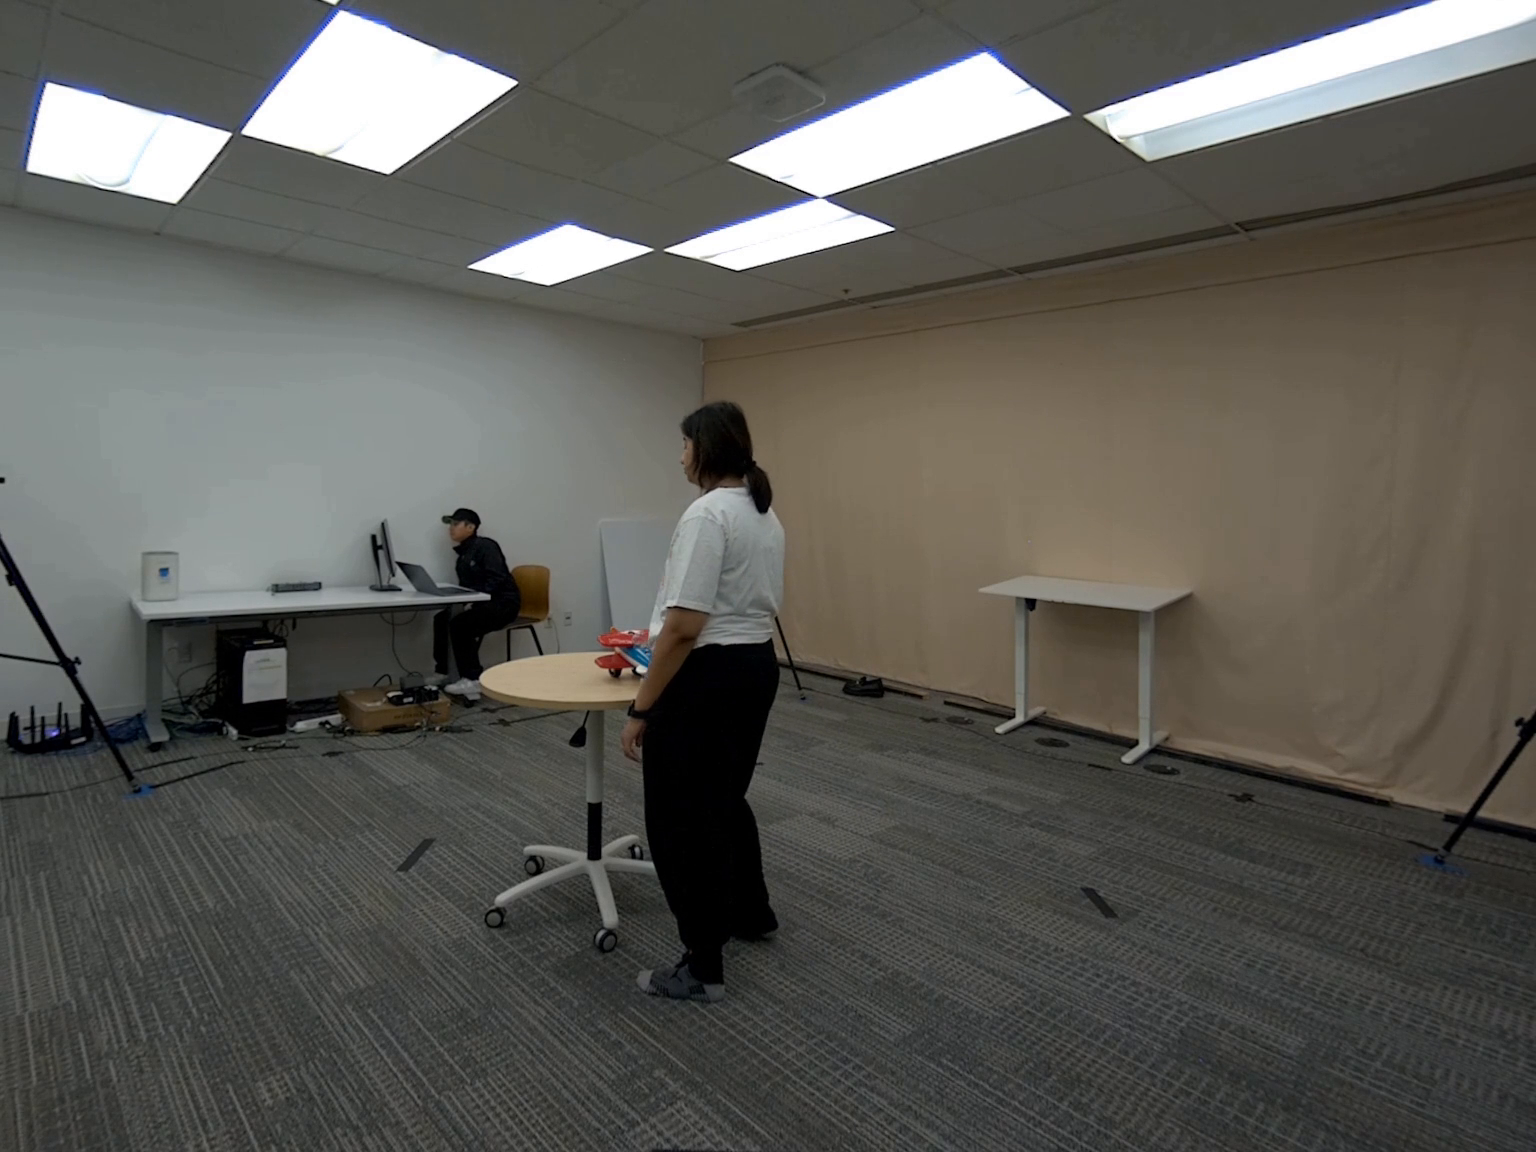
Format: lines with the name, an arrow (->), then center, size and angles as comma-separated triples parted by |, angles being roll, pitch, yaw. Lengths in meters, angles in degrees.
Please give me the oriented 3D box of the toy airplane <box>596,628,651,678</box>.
toy airplane -> -0.426, 0.269, 2.785 | 0.264, 0.156, 0.247 | 3, 5, 26
